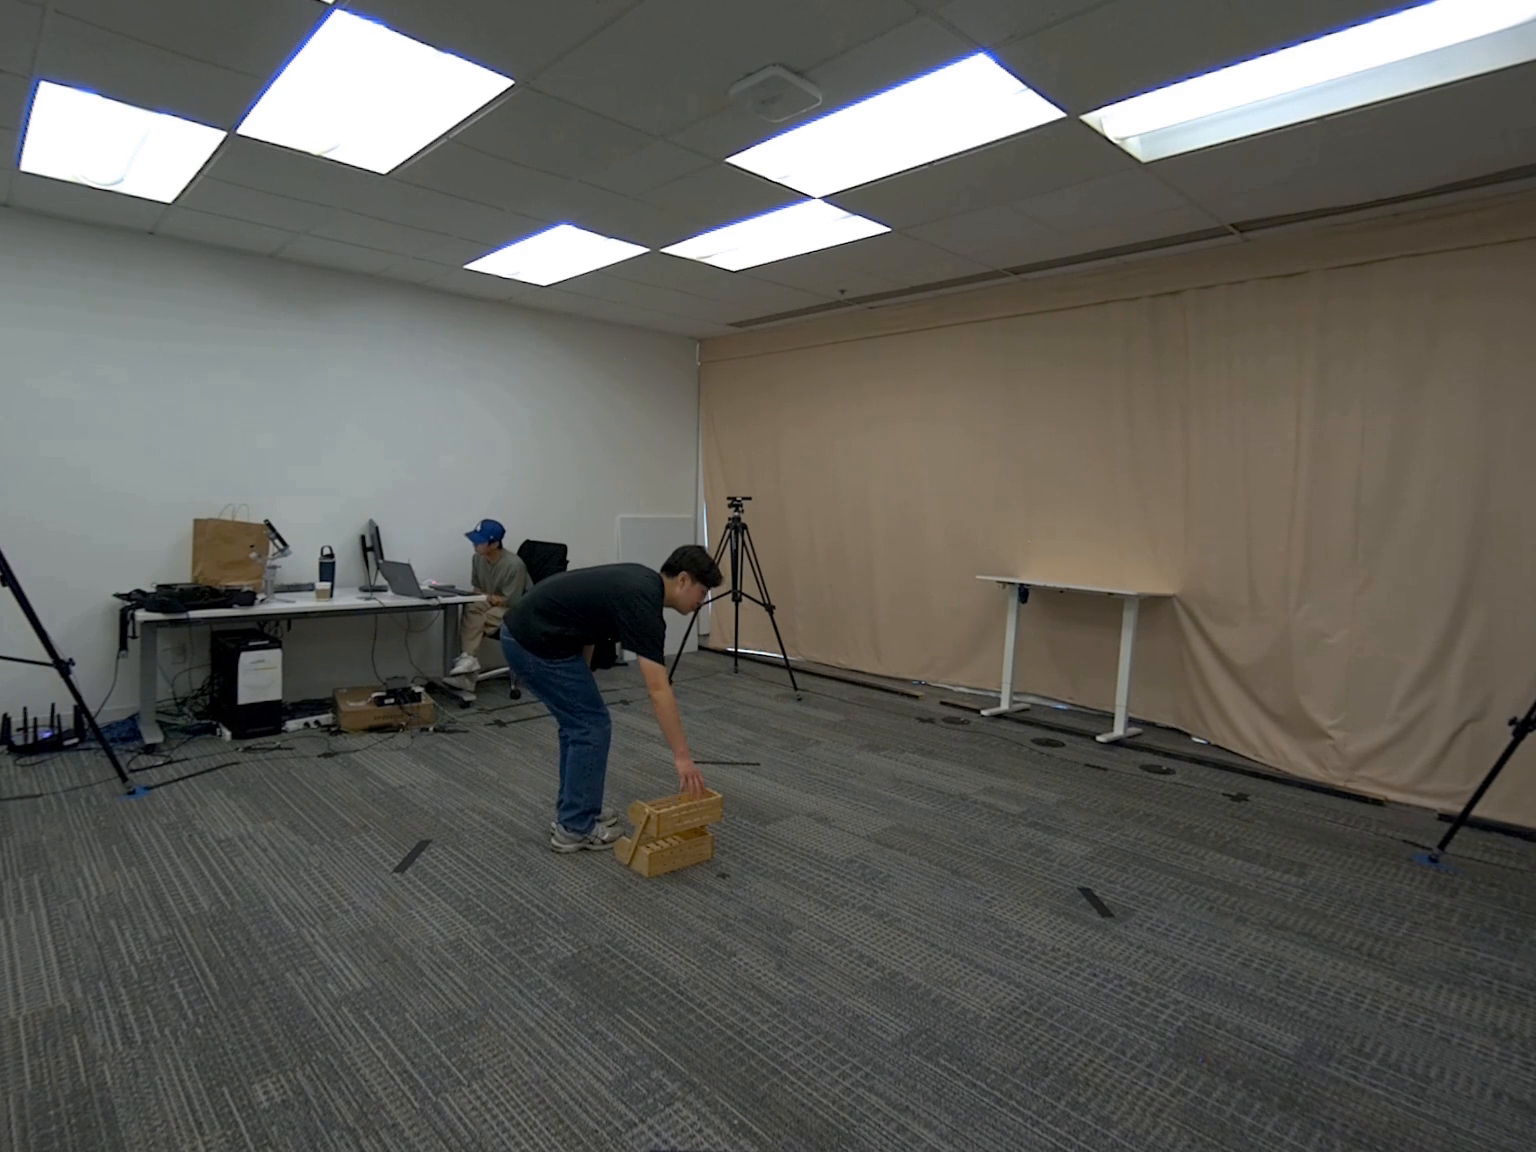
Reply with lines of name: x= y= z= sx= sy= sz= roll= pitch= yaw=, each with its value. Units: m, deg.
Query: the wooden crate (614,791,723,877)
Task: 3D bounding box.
wooden crate: x=-0.391 y=0.958 z=3.229 sx=0.317 sy=0.272 sz=0.310 roll=-2 pitch=6 yaw=-40
